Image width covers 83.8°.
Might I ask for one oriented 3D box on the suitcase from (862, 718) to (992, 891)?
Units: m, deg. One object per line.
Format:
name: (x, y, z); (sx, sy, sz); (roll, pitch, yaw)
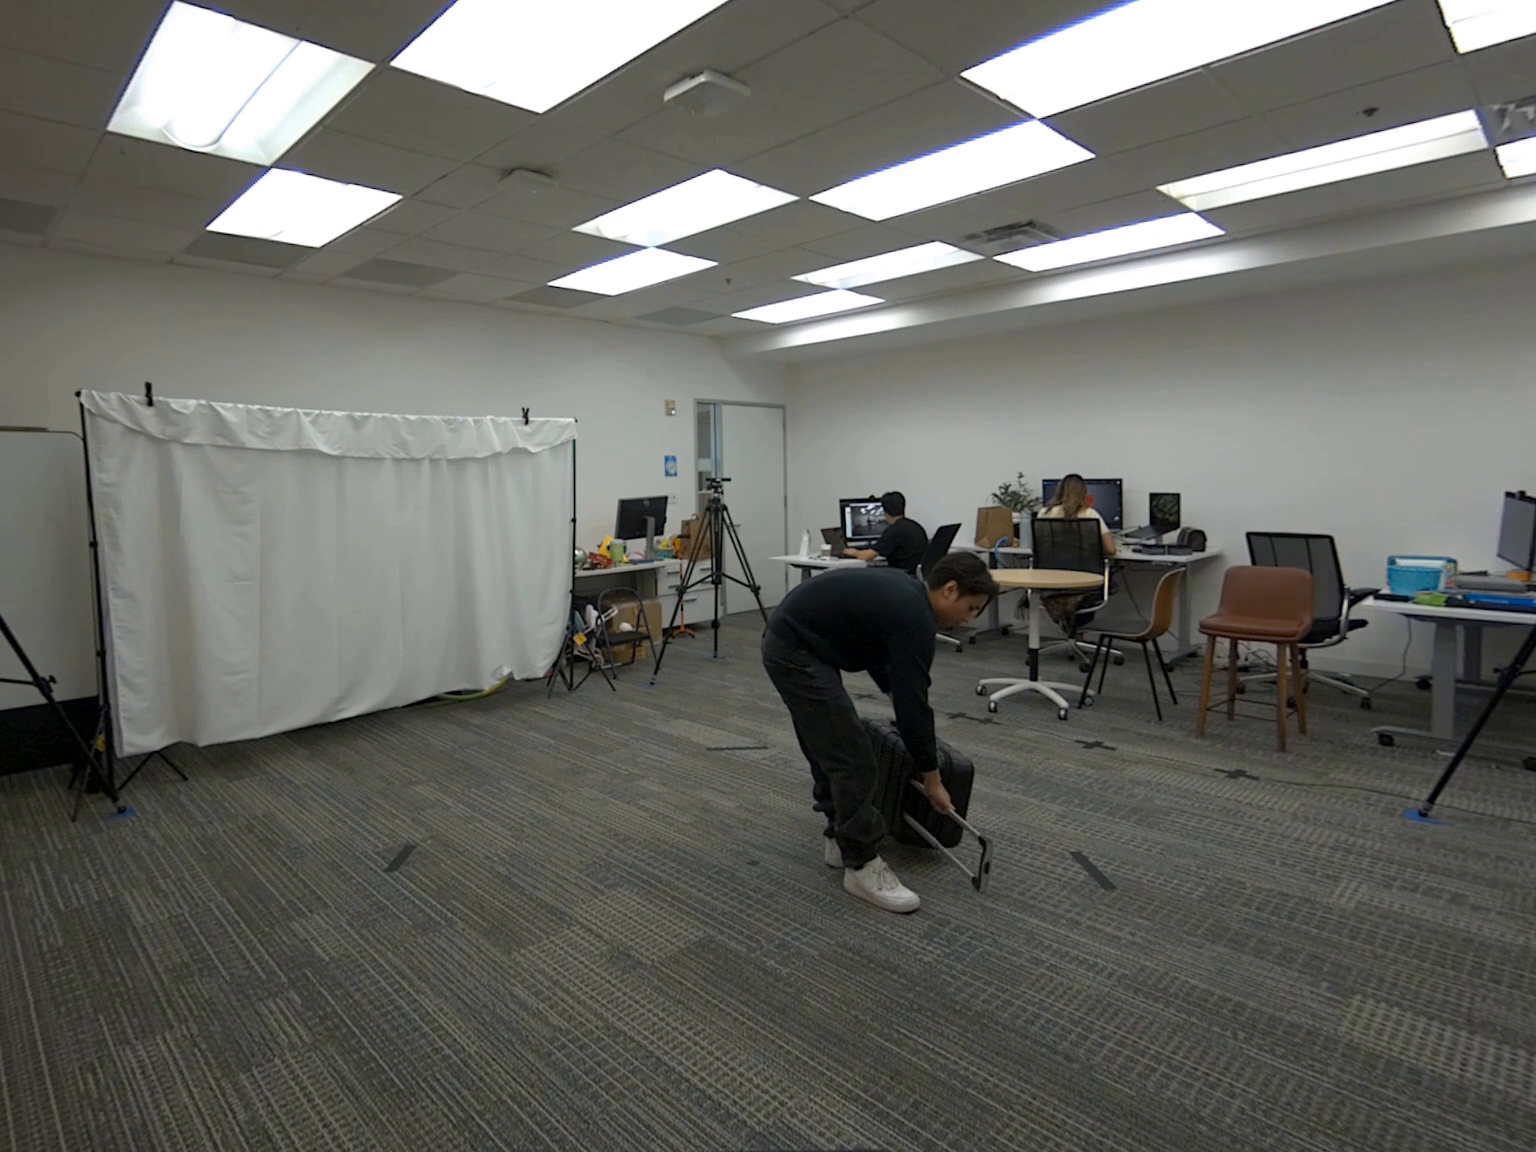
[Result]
suitcase: (0.608, 0.802, 3.059); (0.252, 0.383, 1.000); (10, 4, -19)
